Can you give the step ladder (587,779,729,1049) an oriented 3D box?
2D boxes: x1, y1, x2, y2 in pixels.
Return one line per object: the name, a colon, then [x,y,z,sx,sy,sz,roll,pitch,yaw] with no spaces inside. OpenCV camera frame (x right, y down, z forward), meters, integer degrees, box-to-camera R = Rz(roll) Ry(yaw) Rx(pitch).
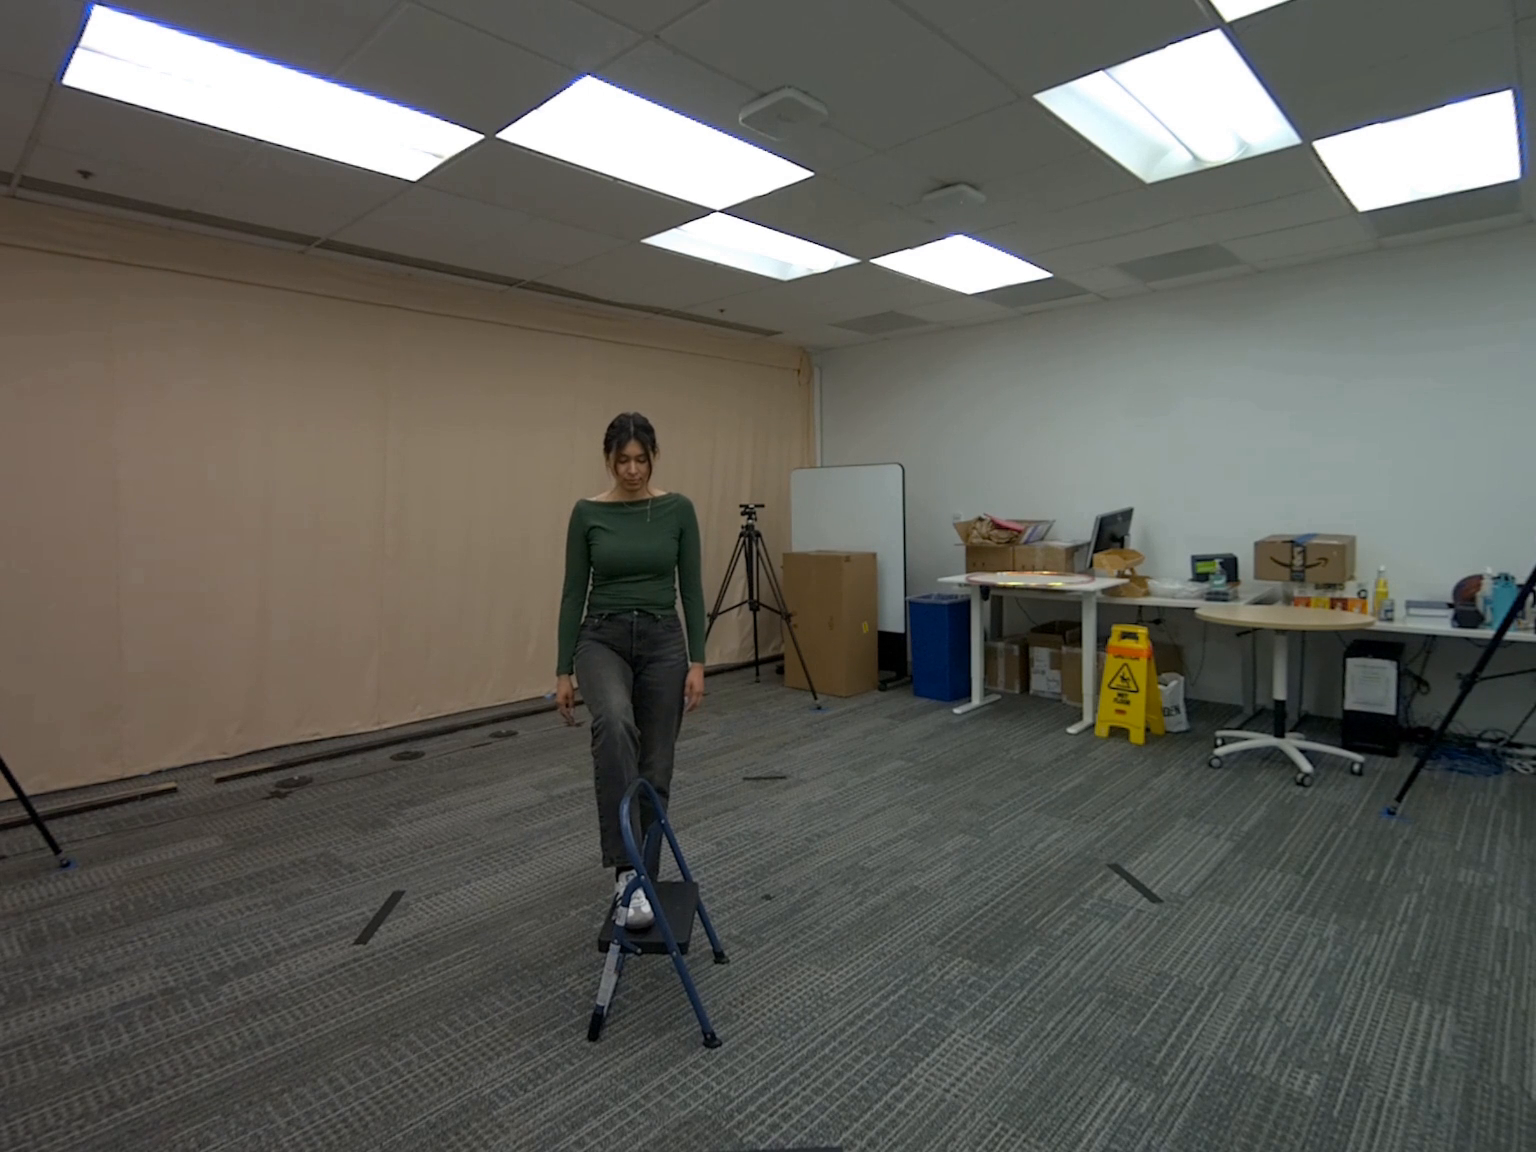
step ladder: [-0.297,0.901,2.367,0.350,0.605,0.430,0,4,1]
